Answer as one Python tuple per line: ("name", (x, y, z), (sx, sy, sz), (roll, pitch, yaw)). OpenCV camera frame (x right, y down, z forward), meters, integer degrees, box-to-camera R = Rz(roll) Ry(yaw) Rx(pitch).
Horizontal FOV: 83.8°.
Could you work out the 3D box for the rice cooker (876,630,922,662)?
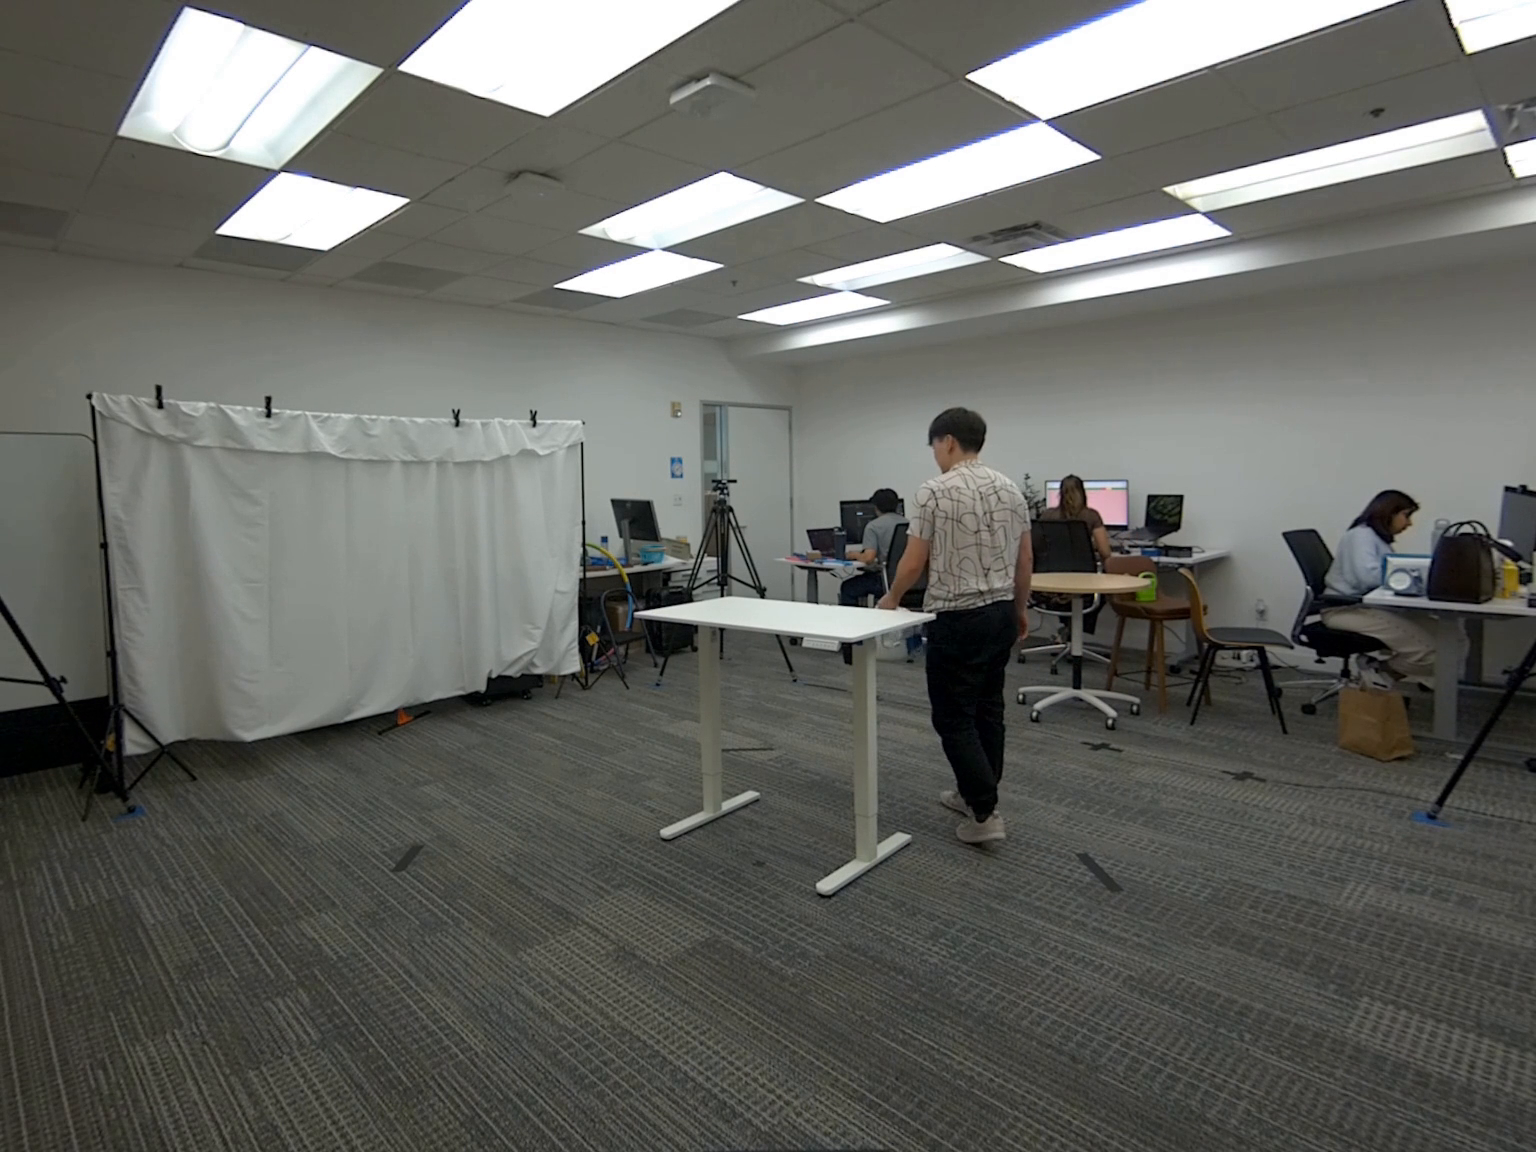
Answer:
("rice cooker", (0.518, 0.230, 3.609), (0.212, 0.232, 0.227), (-5, 6, -32))
